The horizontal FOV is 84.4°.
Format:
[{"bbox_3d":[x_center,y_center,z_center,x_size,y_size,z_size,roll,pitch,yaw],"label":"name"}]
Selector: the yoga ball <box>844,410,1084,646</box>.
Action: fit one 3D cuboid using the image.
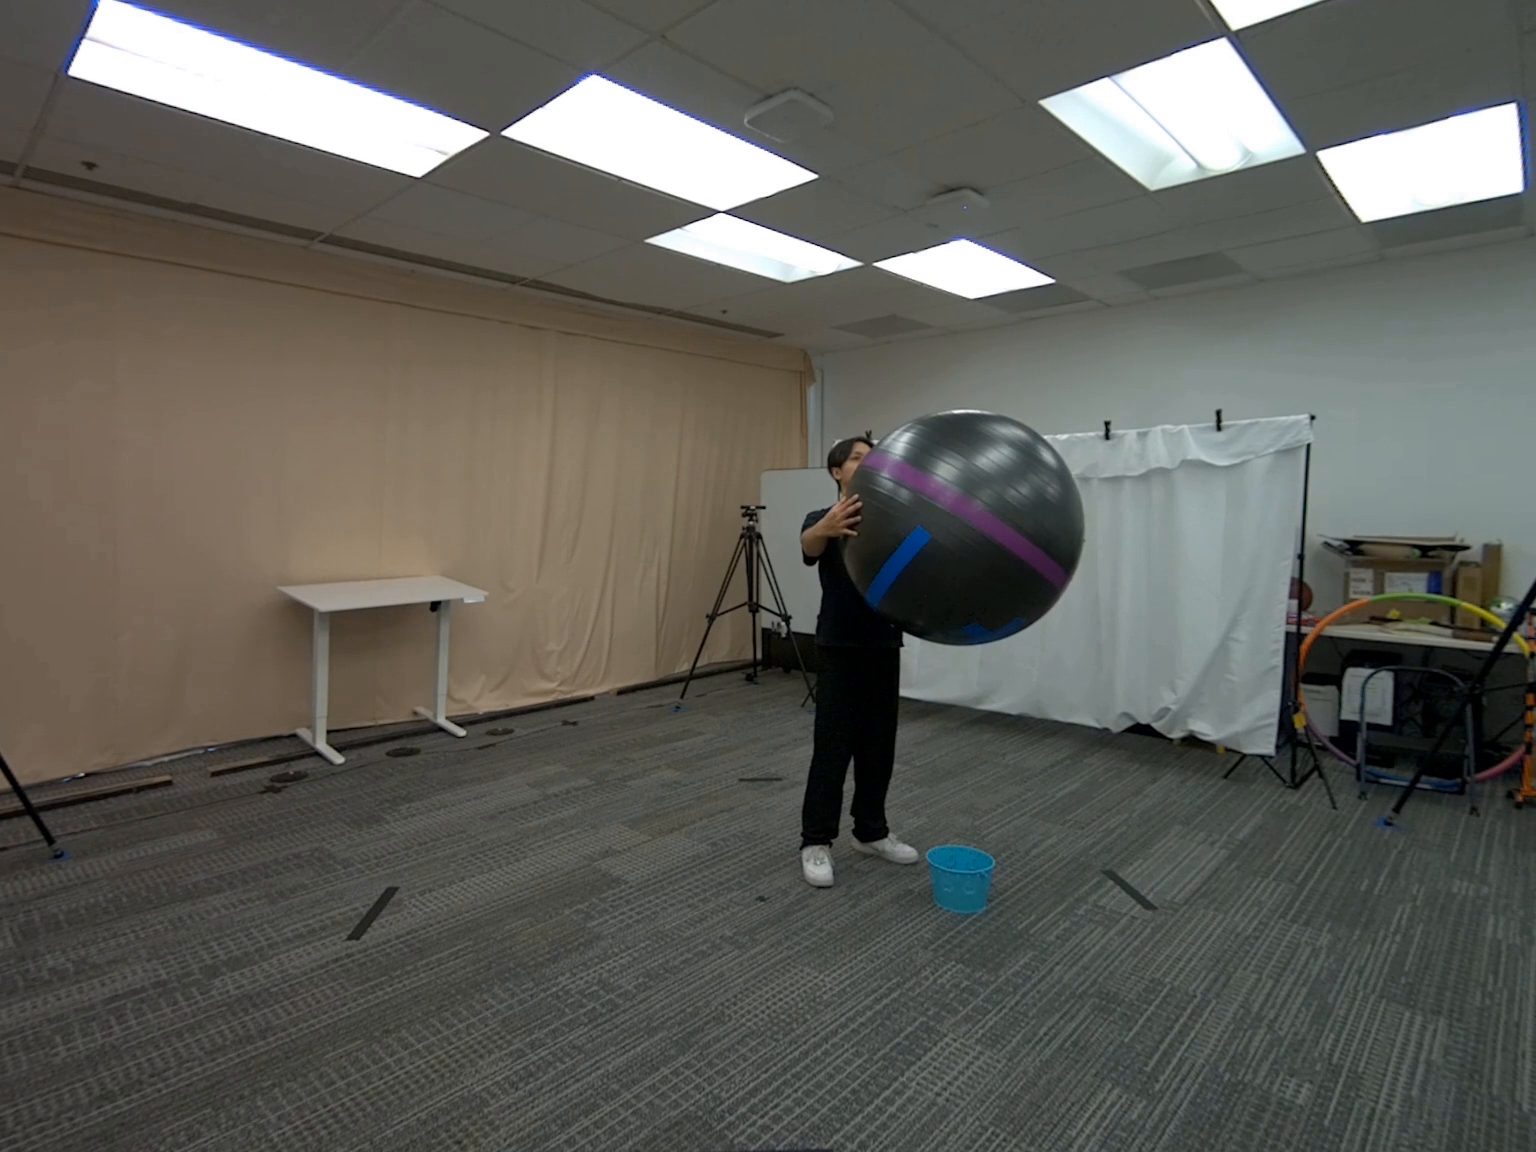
[{"bbox_3d":[0.642,-0.151,2.735,0.757,0.756,0.760,0,4,-2],"label":"yoga ball"}]
